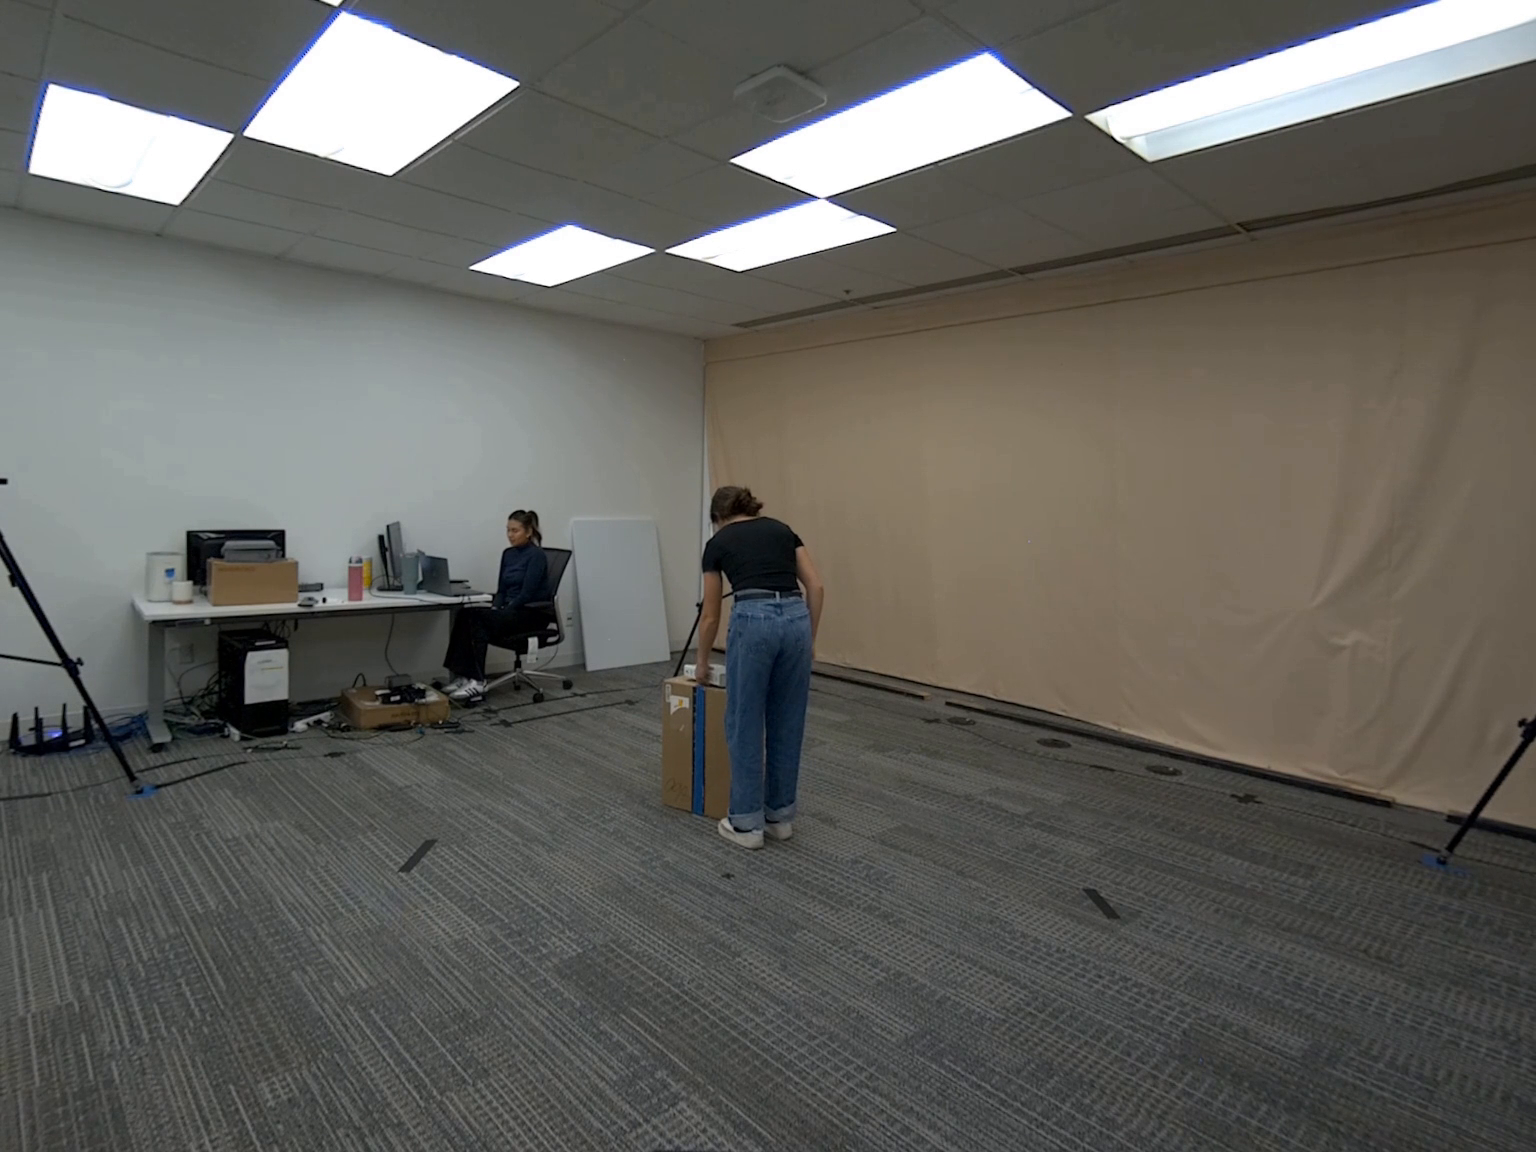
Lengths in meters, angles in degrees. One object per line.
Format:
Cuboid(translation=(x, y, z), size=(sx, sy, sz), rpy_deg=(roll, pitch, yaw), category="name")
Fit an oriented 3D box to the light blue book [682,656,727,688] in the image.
Cuboid(translation=(-0.235, 0.445, 3.821), size=(0.186, 0.059, 0.267), rpy_deg=(6, -1, -42), category="light blue book")
